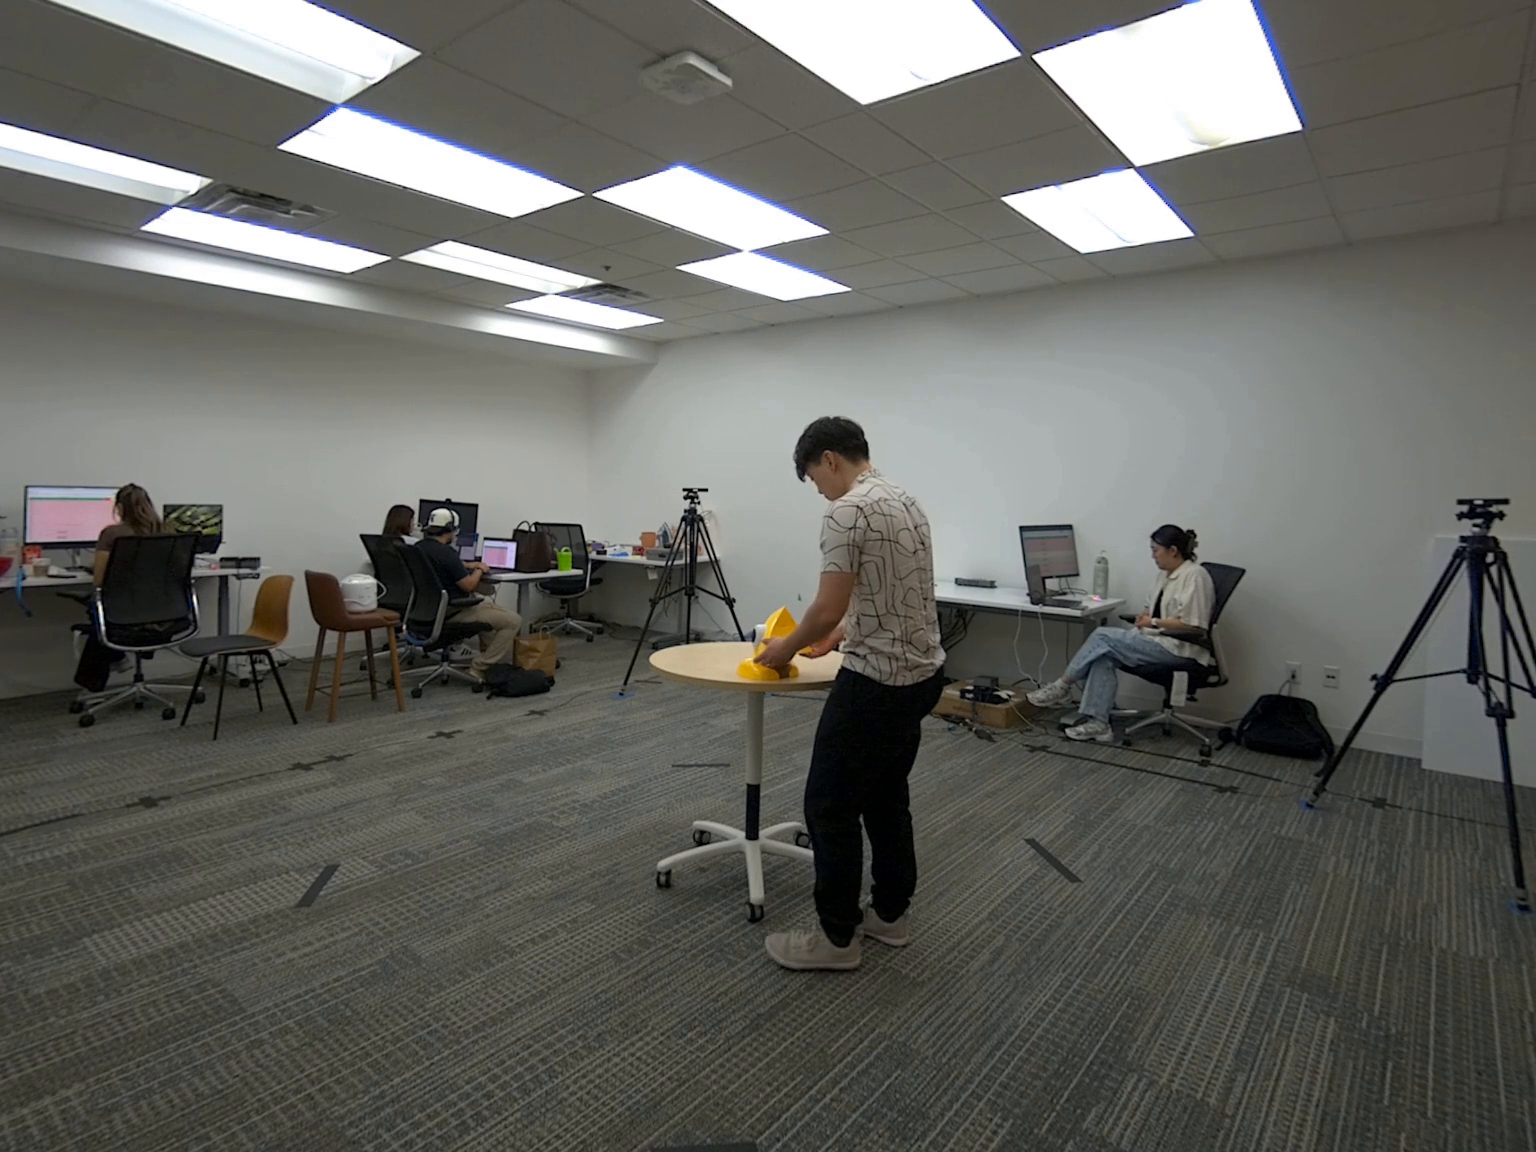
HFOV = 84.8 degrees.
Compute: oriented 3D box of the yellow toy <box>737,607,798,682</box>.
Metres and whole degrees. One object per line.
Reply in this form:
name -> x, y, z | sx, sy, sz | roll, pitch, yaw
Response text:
yellow toy -> -0.001, 0.207, 2.783 | 0.199, 0.230, 0.199 | -3, 4, -40
